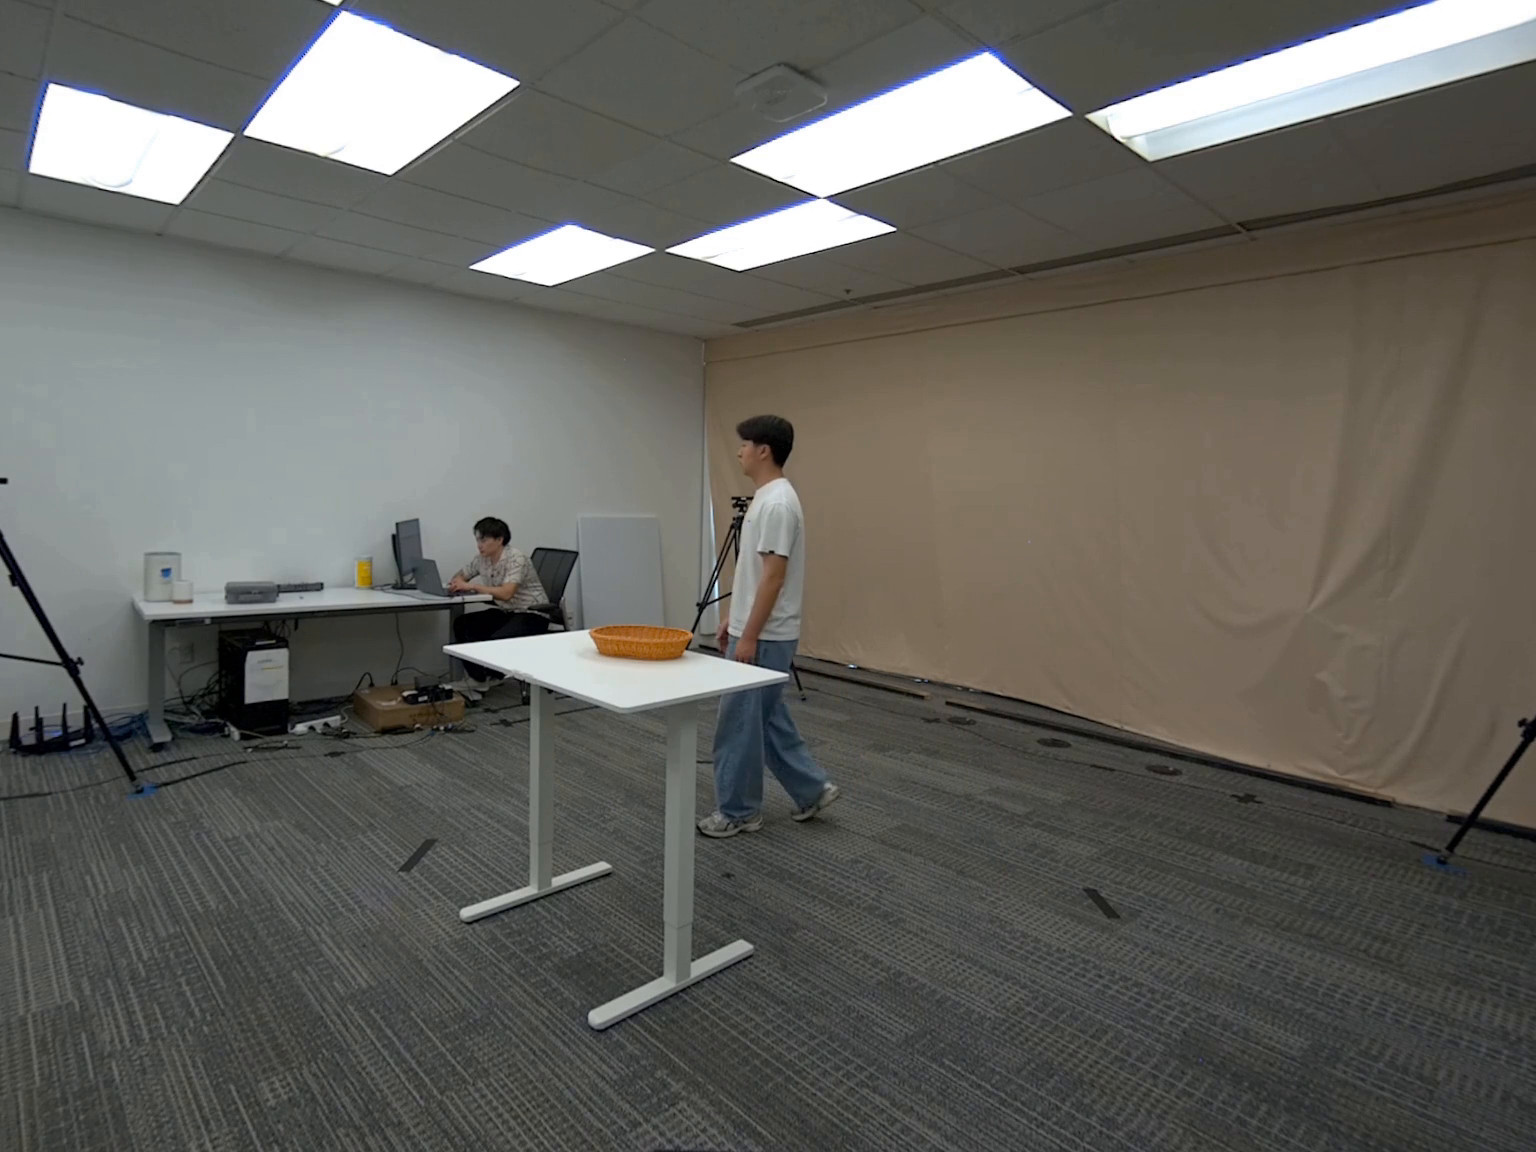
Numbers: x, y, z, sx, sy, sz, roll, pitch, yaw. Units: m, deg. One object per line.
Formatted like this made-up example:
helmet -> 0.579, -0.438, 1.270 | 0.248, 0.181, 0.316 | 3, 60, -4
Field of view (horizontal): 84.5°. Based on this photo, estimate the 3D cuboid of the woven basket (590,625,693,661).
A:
woven basket -> -0.432, 0.224, 2.698 | 0.357, 0.073, 0.248 | 4, 6, 24
